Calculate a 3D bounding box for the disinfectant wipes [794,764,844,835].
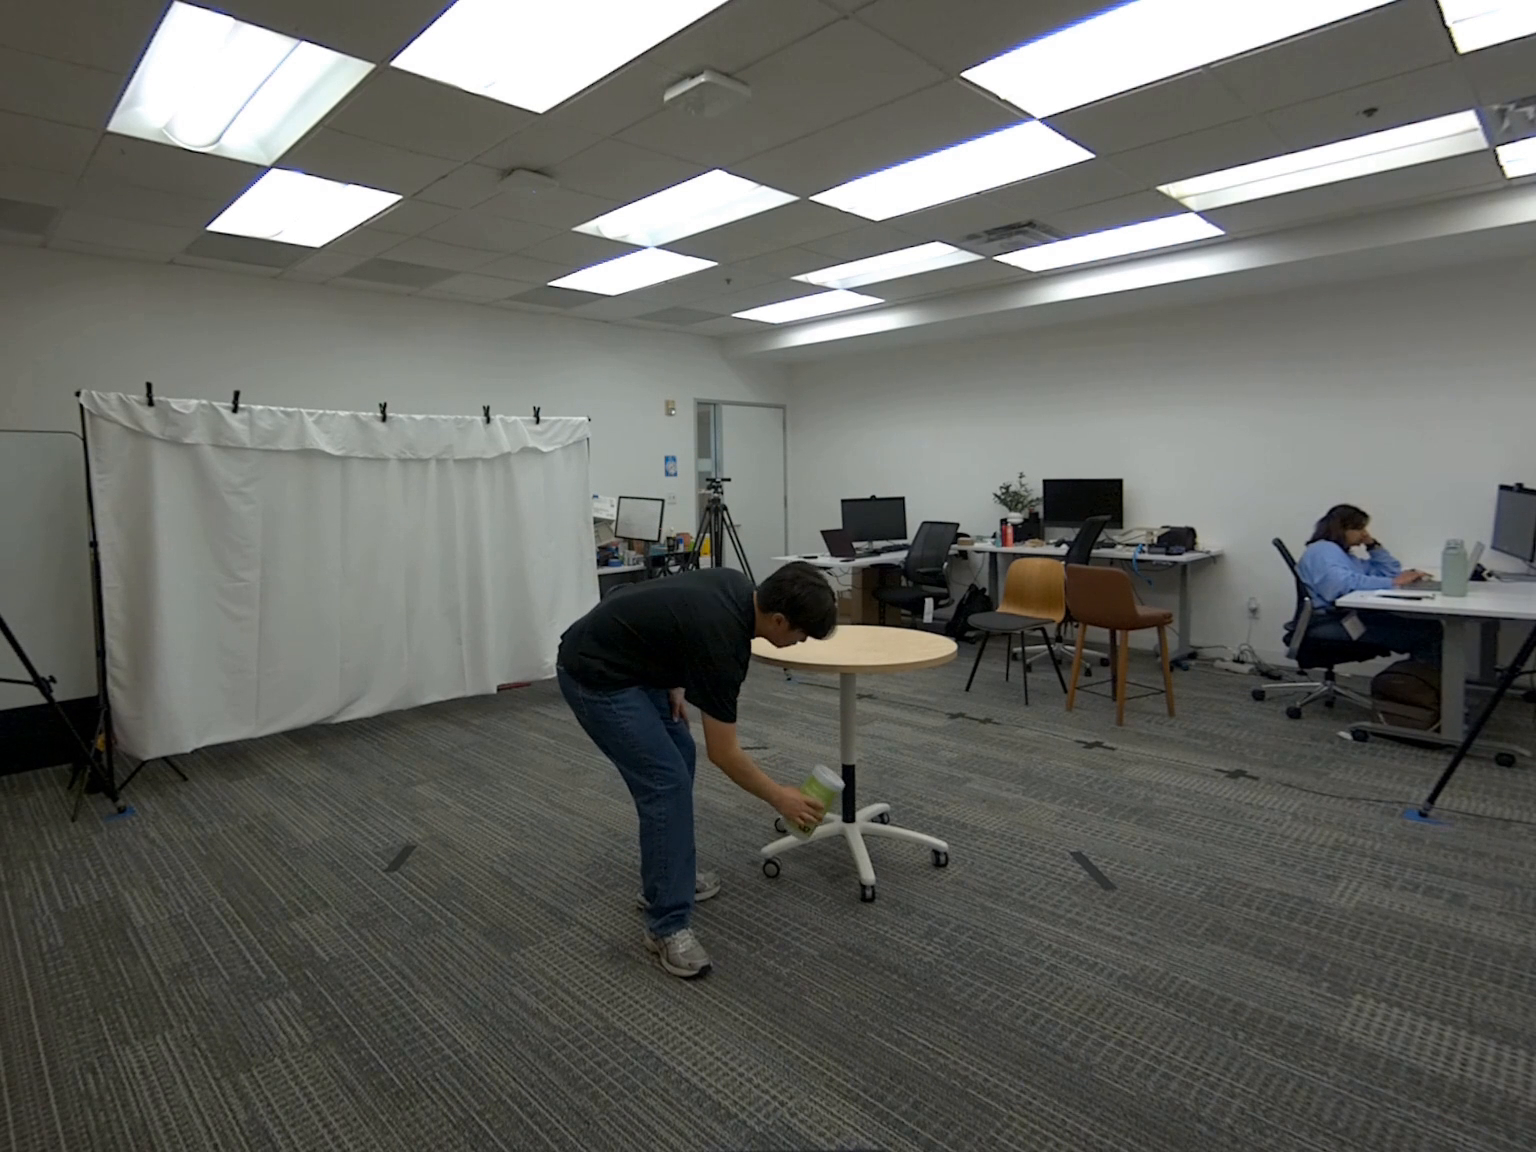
[{"bbox_3d":[0.144,0.702,2.671,0.117,0.217,0.119,31,6,-6],"label":"disinfectant wipes"}]
